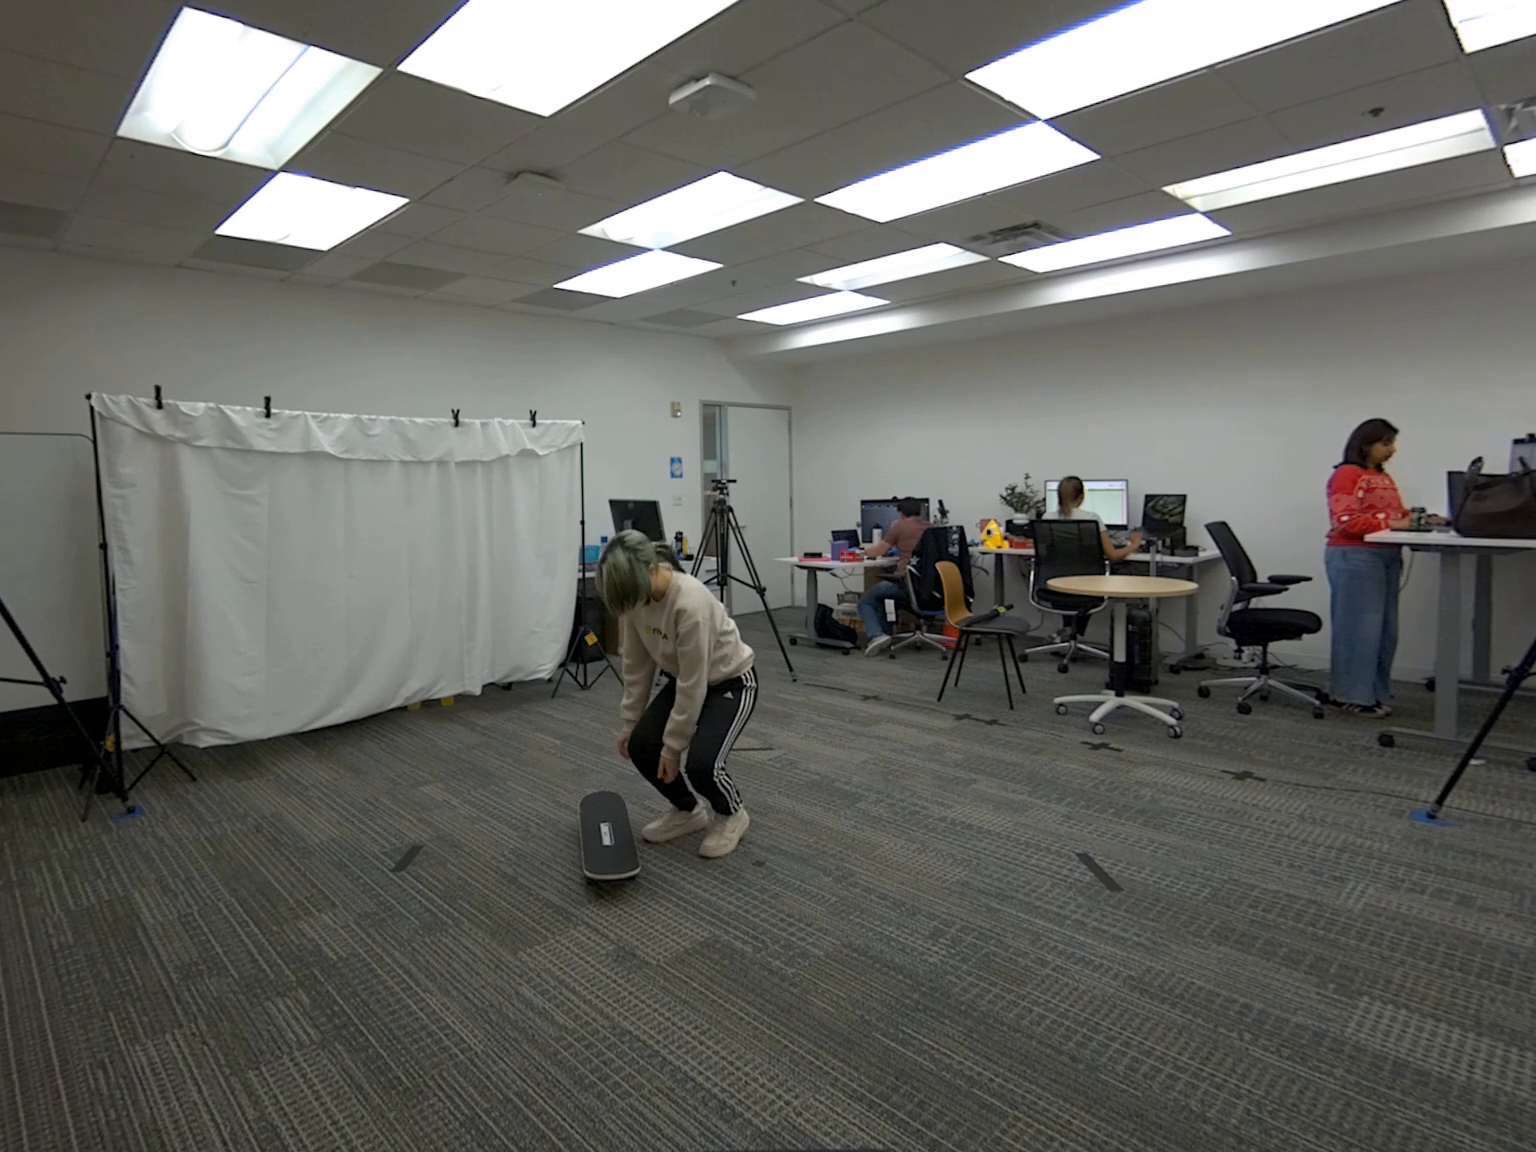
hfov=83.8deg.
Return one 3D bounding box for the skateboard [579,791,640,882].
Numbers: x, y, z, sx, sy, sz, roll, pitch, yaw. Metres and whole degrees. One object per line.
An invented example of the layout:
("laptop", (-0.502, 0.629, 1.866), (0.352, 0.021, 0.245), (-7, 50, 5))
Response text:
("skateboard", (-0.598, 0.992, 3.180), (0.191, 0.110, 0.798), (-3, 6, -13))
